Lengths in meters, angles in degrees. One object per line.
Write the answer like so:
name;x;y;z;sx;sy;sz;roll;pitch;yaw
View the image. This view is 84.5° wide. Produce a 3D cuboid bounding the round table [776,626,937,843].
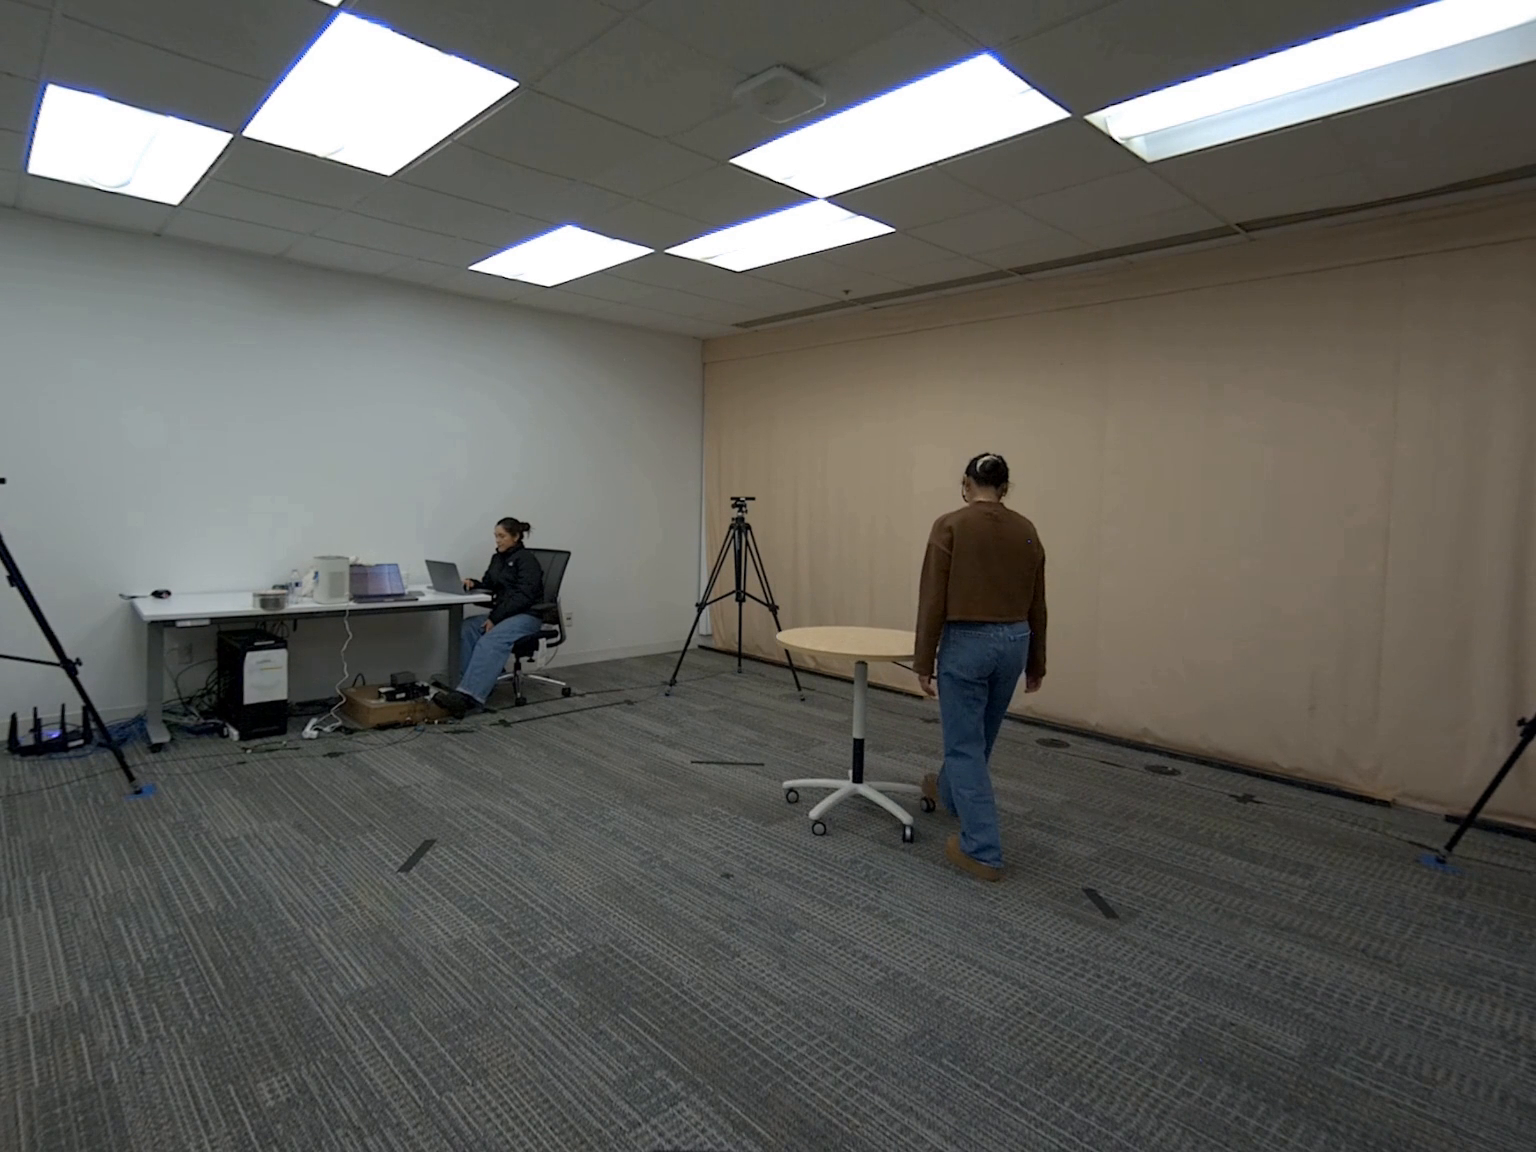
round table;0.399;0.676;3.755;0.763;0.792;0.766;1;4;-1
